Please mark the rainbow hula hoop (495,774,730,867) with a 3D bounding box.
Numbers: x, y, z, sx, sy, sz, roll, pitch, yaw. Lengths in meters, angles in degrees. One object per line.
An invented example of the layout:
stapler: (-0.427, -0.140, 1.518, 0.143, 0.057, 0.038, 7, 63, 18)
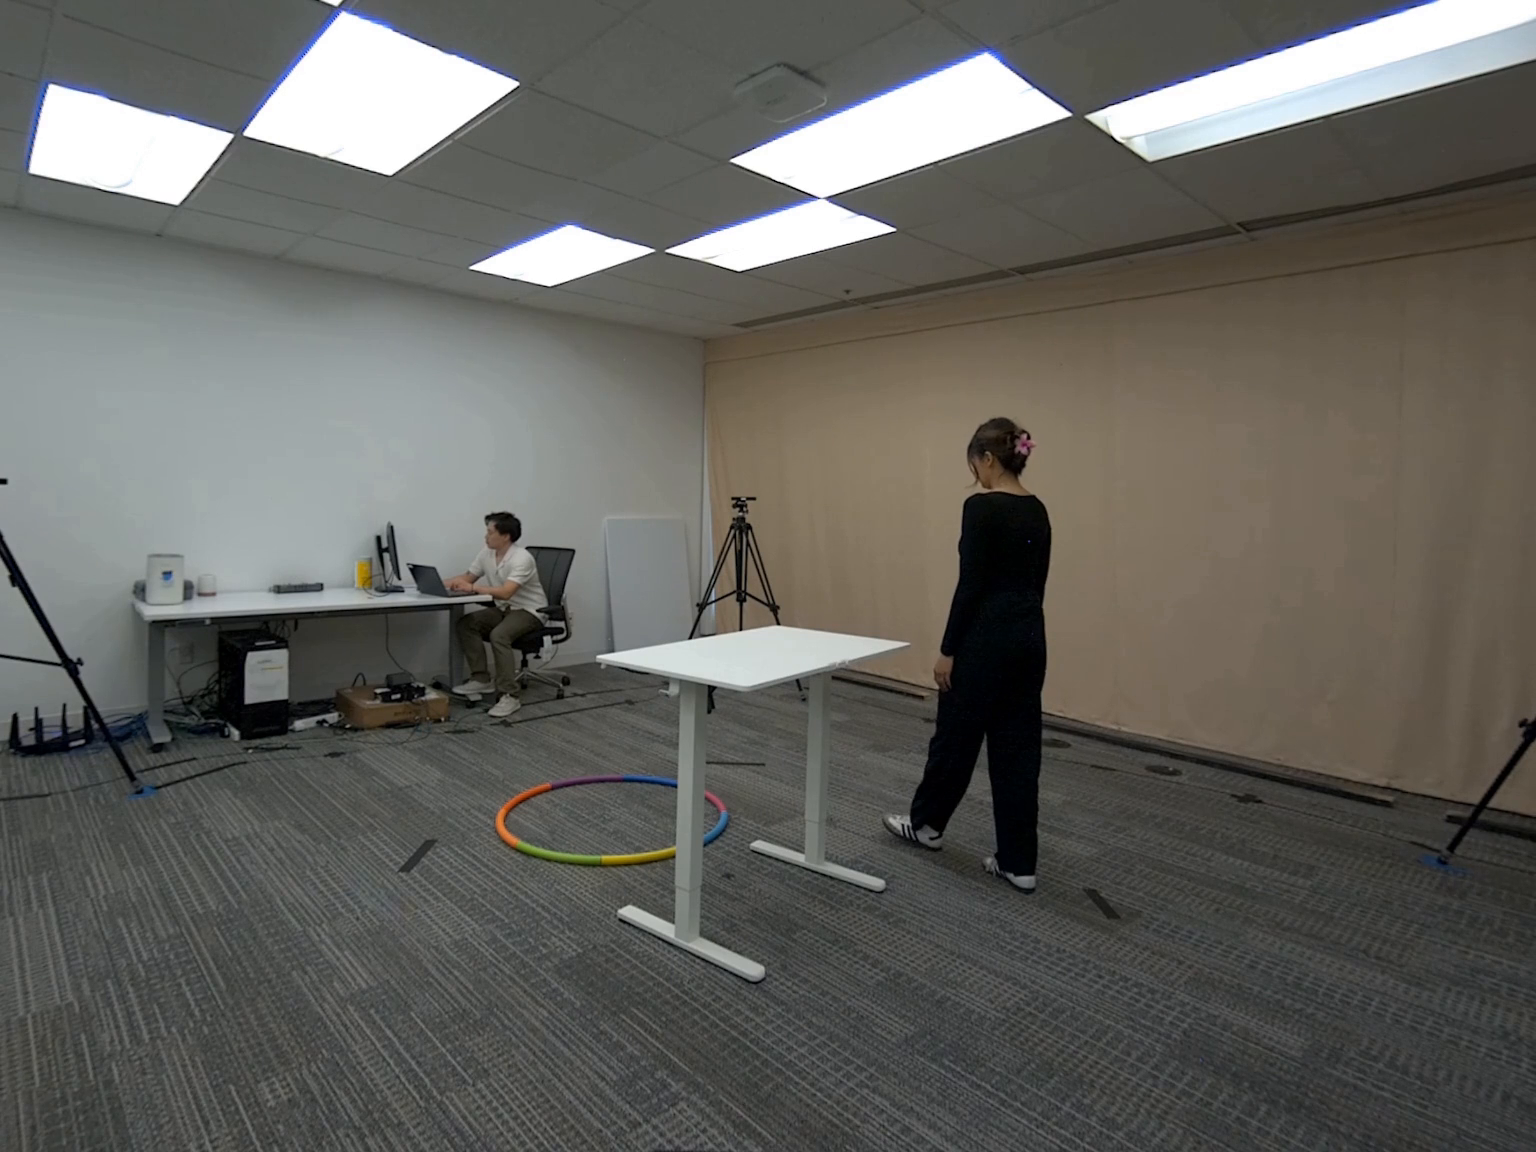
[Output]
rainbow hula hoop: (-0.674, 1.020, 3.640, 0.978, 0.035, 0.982, 2, 5, -1)
